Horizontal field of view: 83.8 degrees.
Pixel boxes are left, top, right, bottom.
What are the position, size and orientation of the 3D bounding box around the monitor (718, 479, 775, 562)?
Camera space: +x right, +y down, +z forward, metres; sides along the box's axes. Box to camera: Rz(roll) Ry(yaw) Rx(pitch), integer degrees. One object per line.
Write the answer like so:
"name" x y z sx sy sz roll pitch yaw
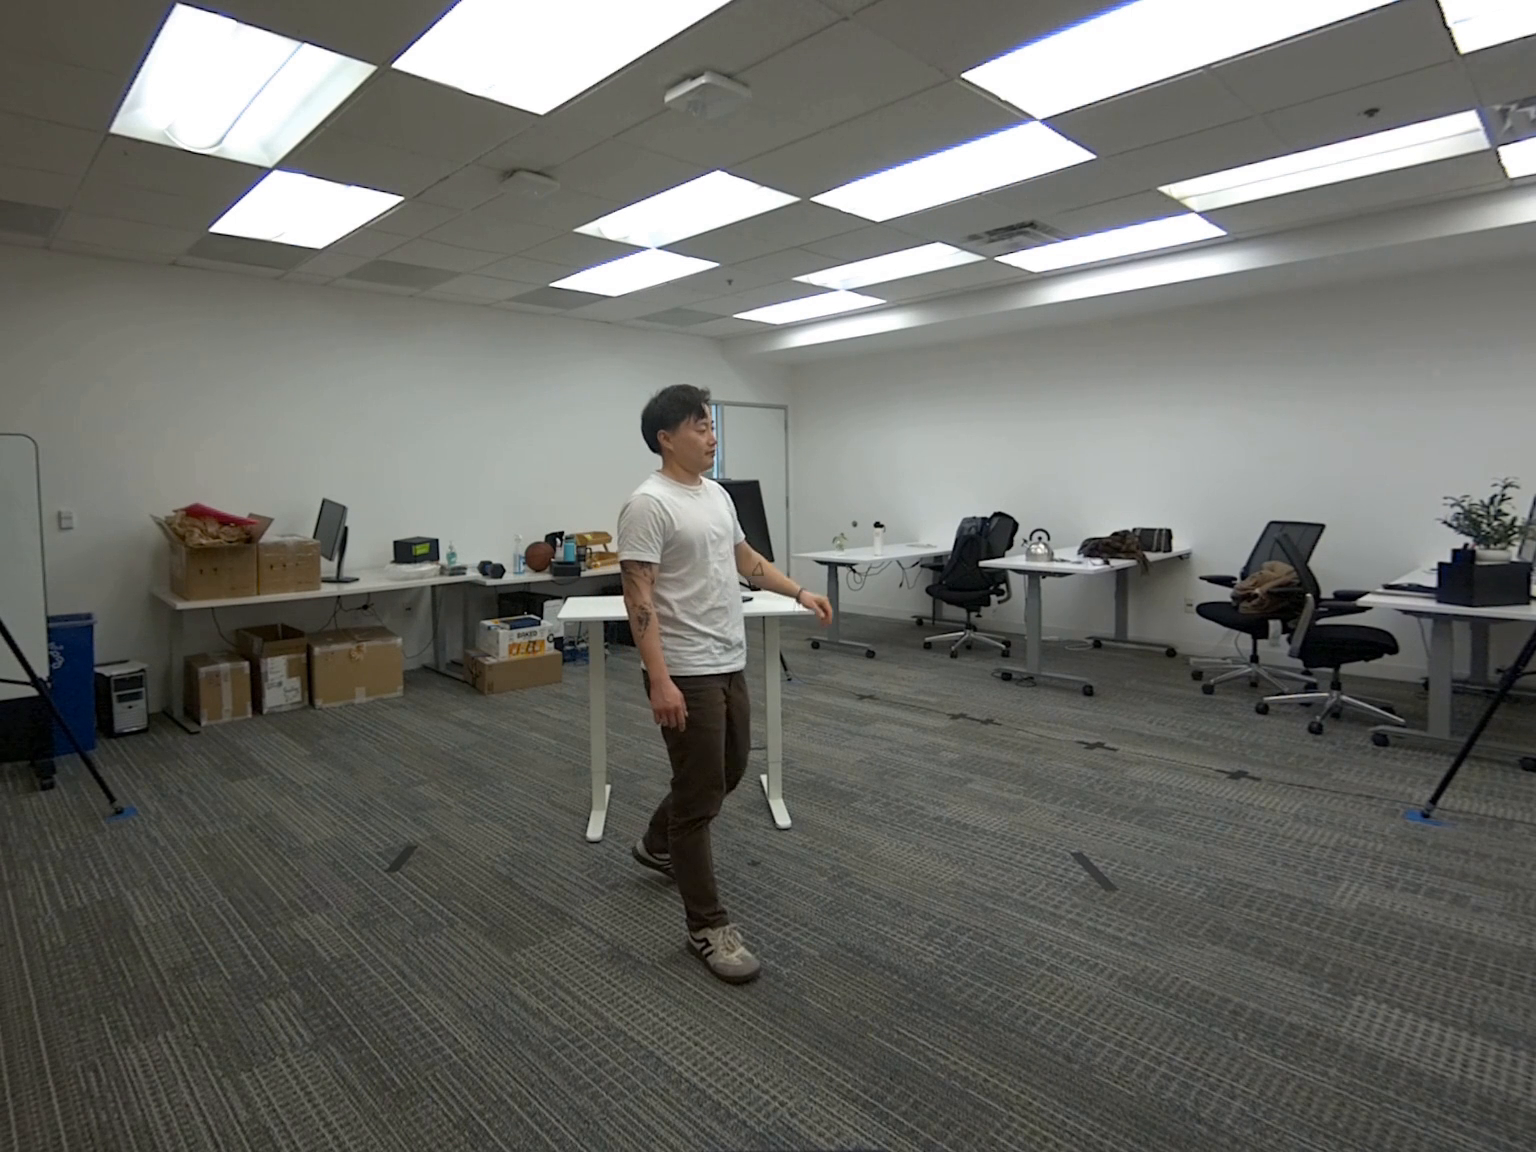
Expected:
"monitor" -0.228 -0.146 3.648 0.555 0.519 0.182 4 8 40
